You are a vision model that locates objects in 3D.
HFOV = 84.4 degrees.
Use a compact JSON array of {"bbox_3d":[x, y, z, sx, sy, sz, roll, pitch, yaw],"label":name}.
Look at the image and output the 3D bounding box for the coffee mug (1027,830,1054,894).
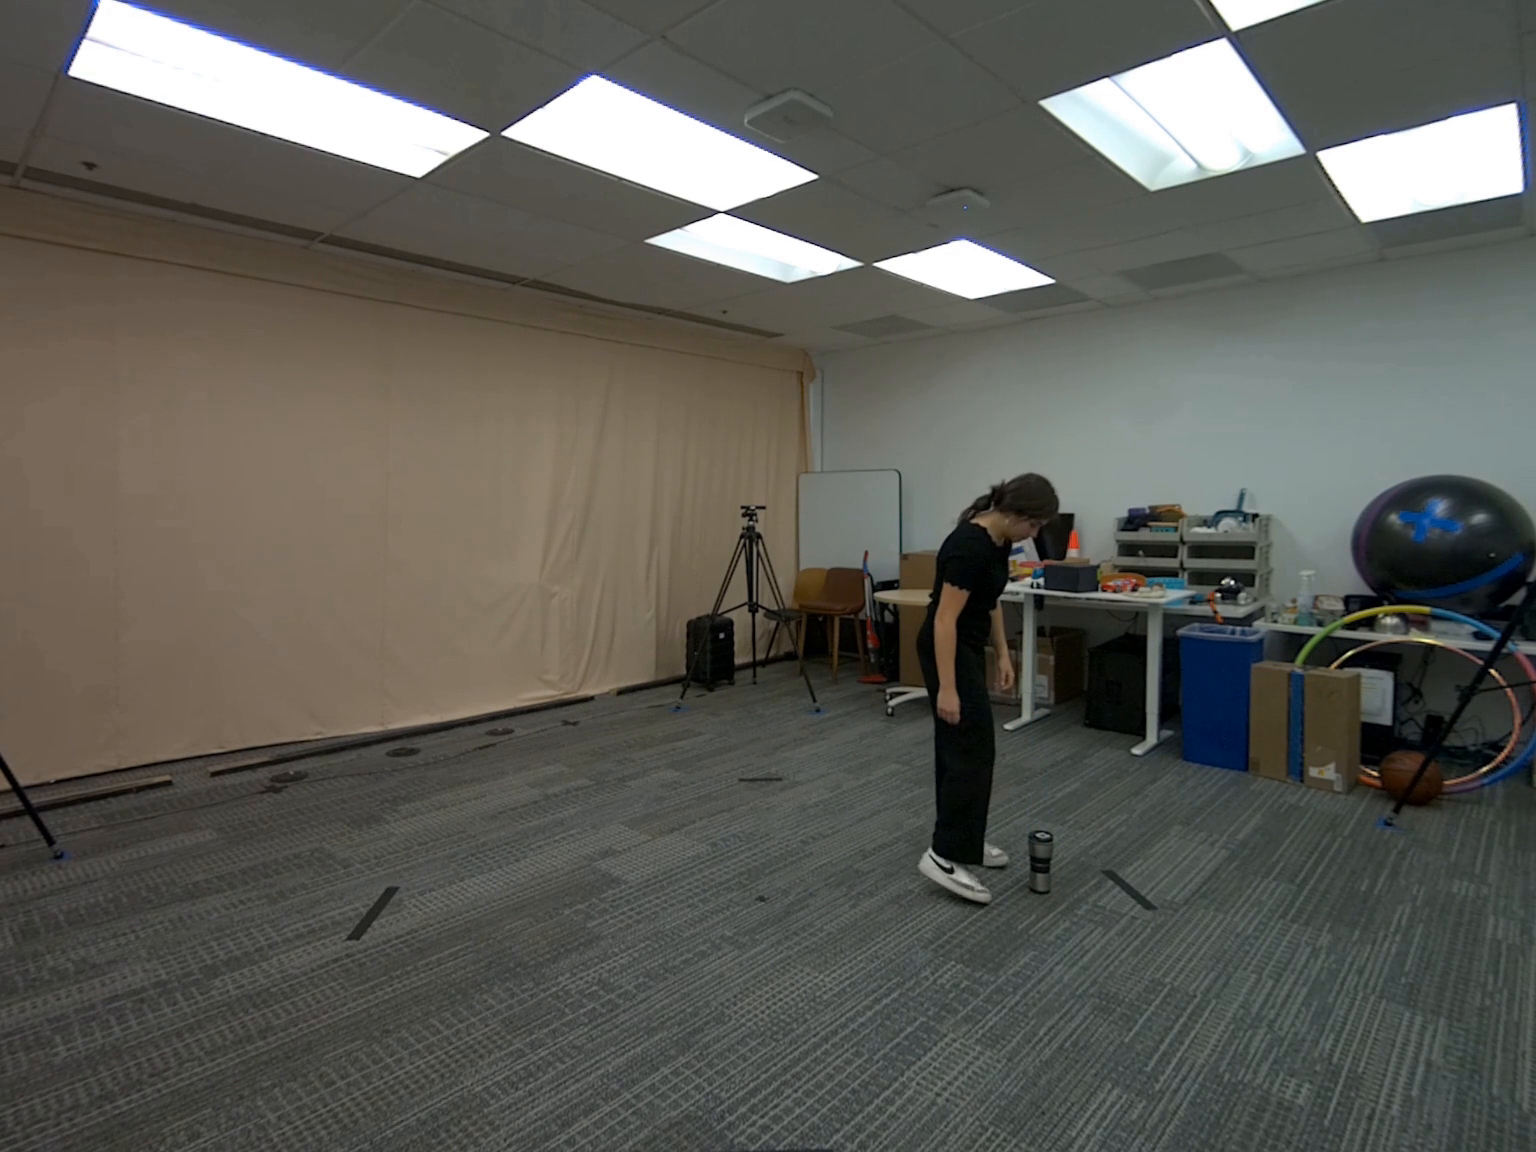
[{"bbox_3d":[1.001,1.032,3.063,0.090,0.202,0.119,1,6,31],"label":"coffee mug"}]
